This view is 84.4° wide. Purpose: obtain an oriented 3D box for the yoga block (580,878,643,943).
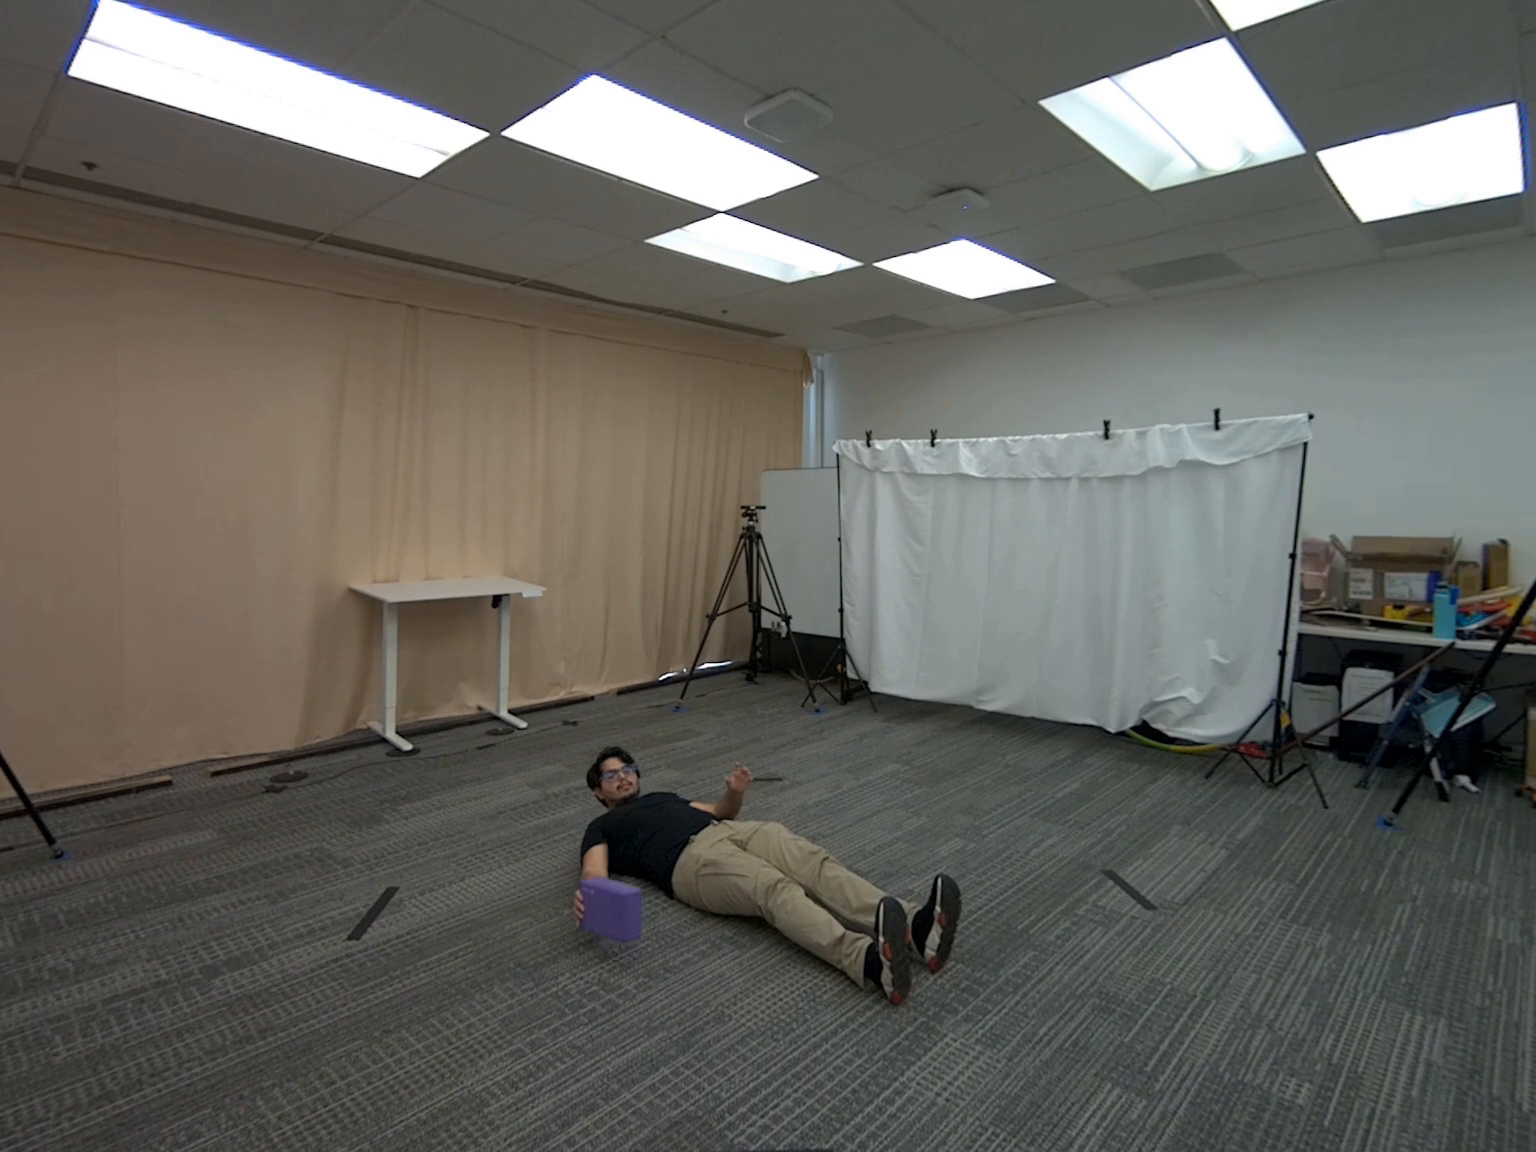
[{"bbox_3d":[-0.480,1.019,2.623,0.236,0.149,0.074,-4,-5,41],"label":"yoga block"}]
